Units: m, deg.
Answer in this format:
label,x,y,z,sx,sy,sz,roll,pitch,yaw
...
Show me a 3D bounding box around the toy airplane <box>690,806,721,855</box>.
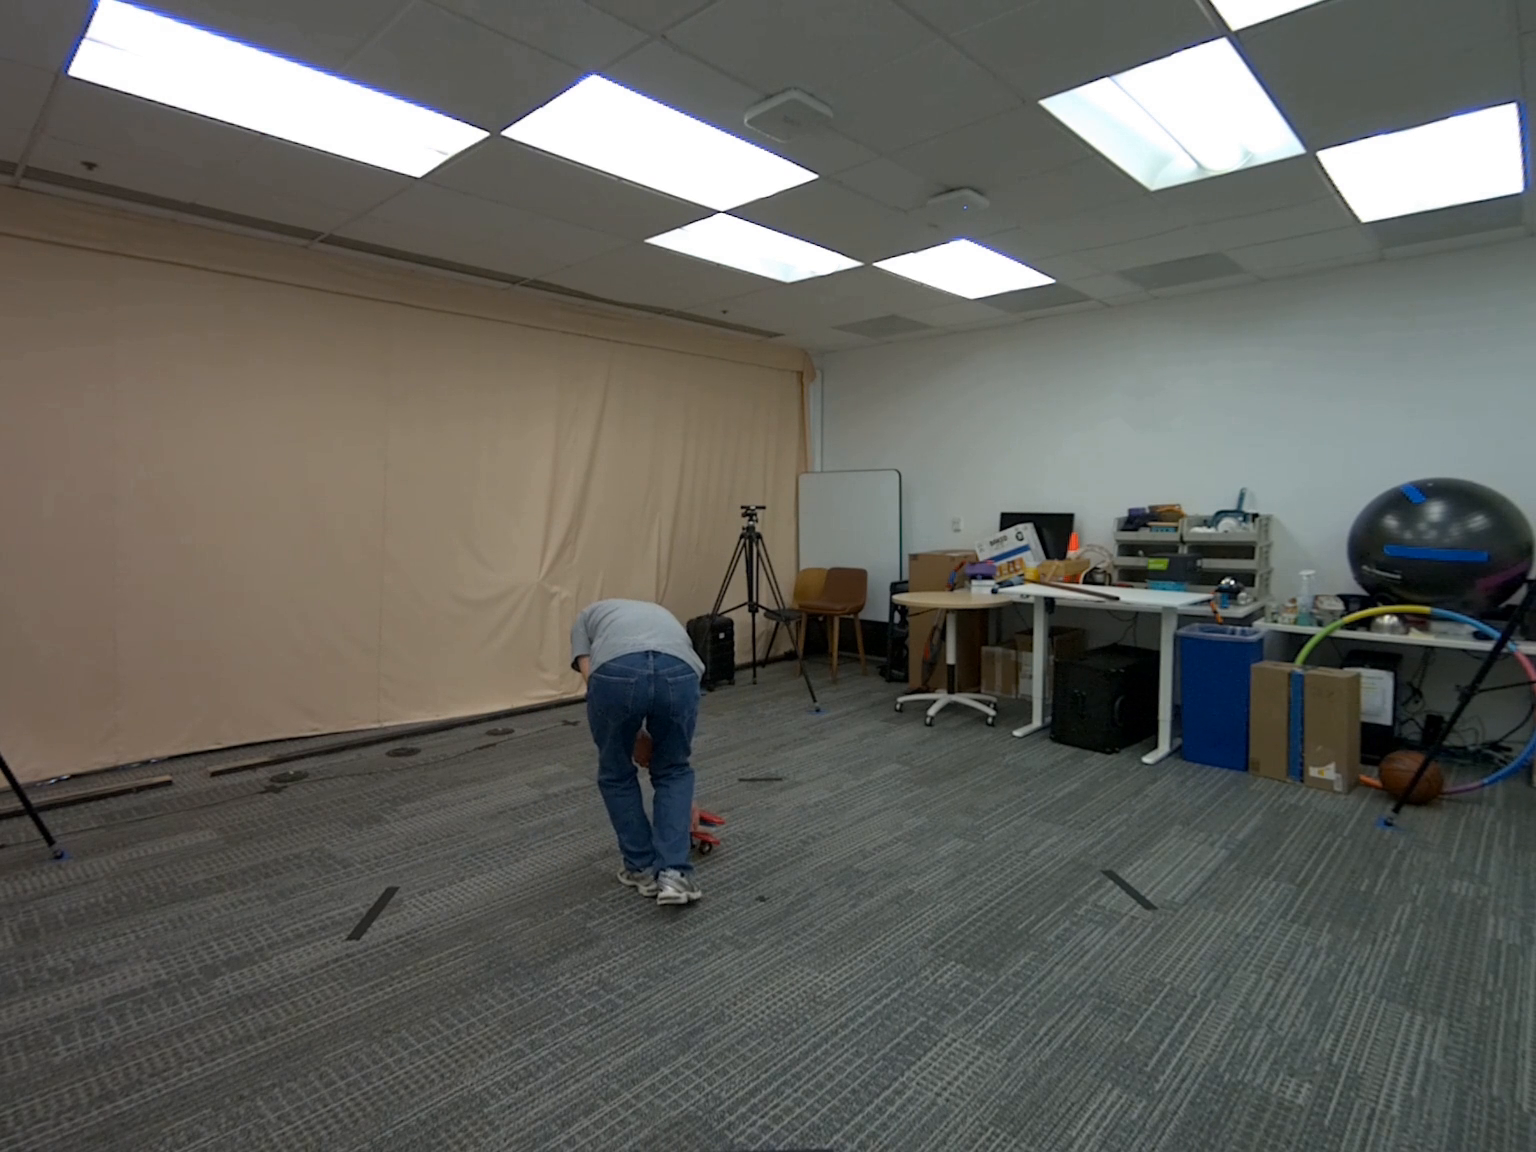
label,x,y,z,sx,sy,sz,roll,pitch,yaw
toy airplane,-0.297,1.003,3.355,0.258,0.157,0.252,17,-21,22
